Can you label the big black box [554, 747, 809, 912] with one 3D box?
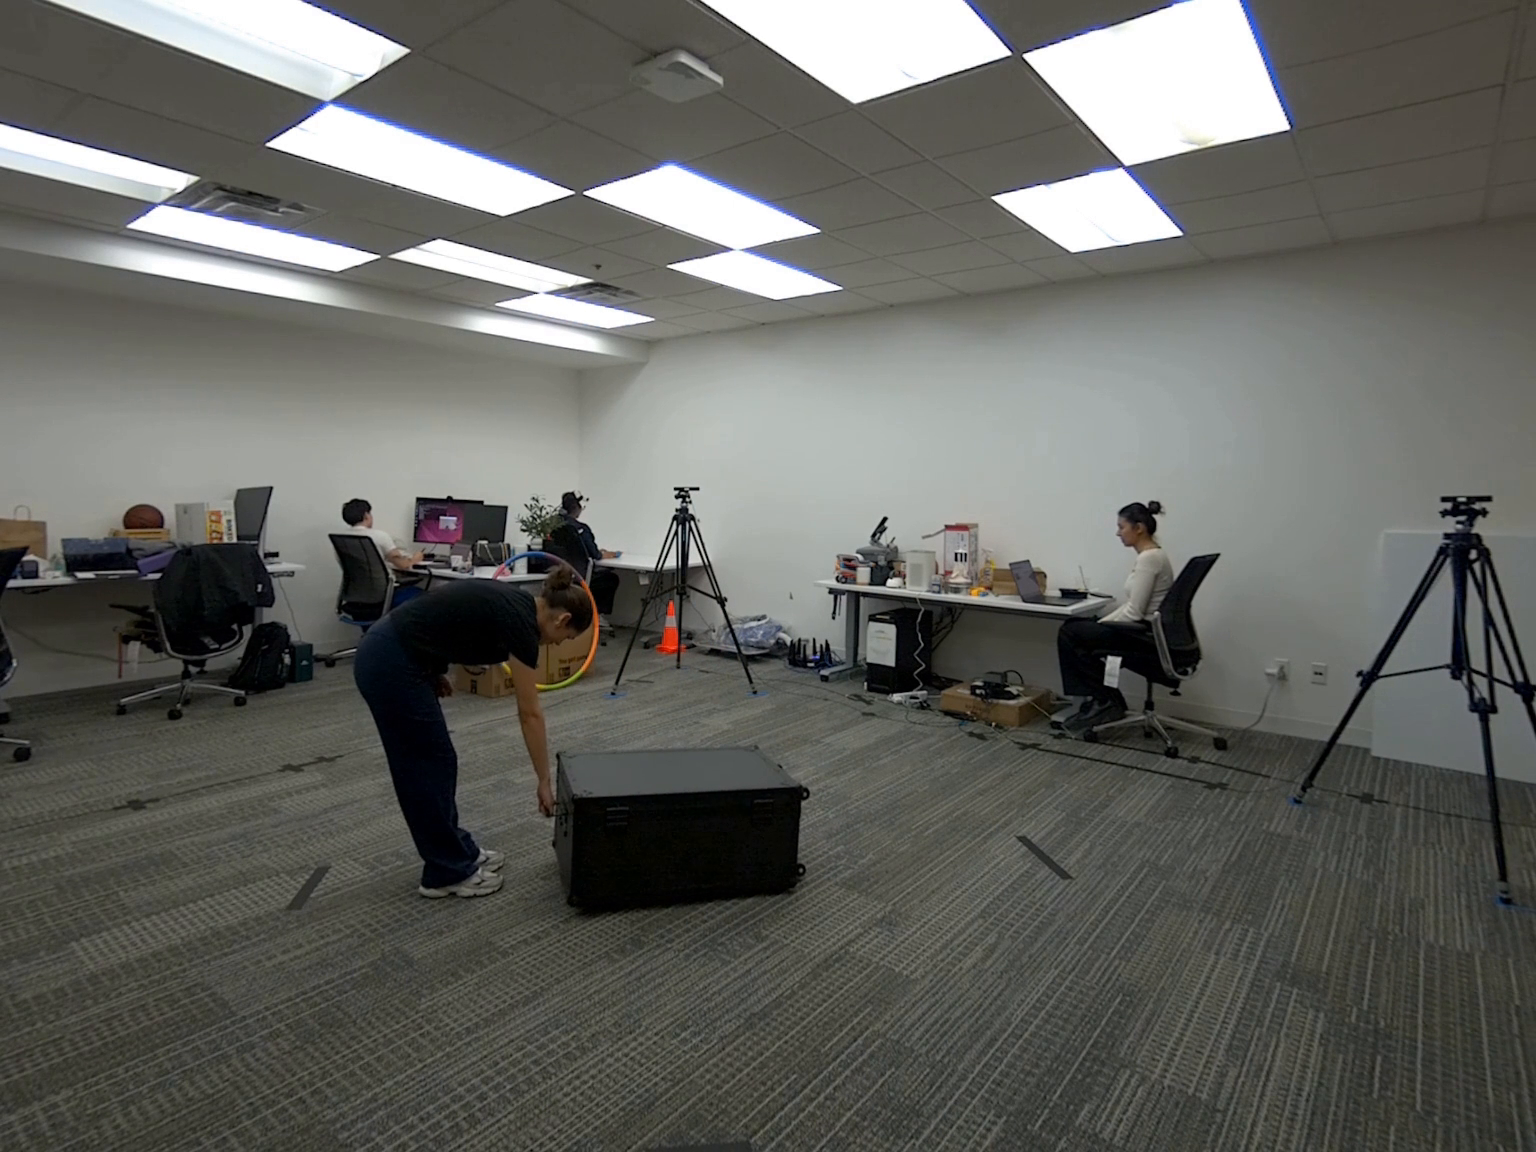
[{"bbox_3d":[-0.296,0.868,3.057,0.846,0.395,0.533,1,5,-18],"label":"big black box"}]
